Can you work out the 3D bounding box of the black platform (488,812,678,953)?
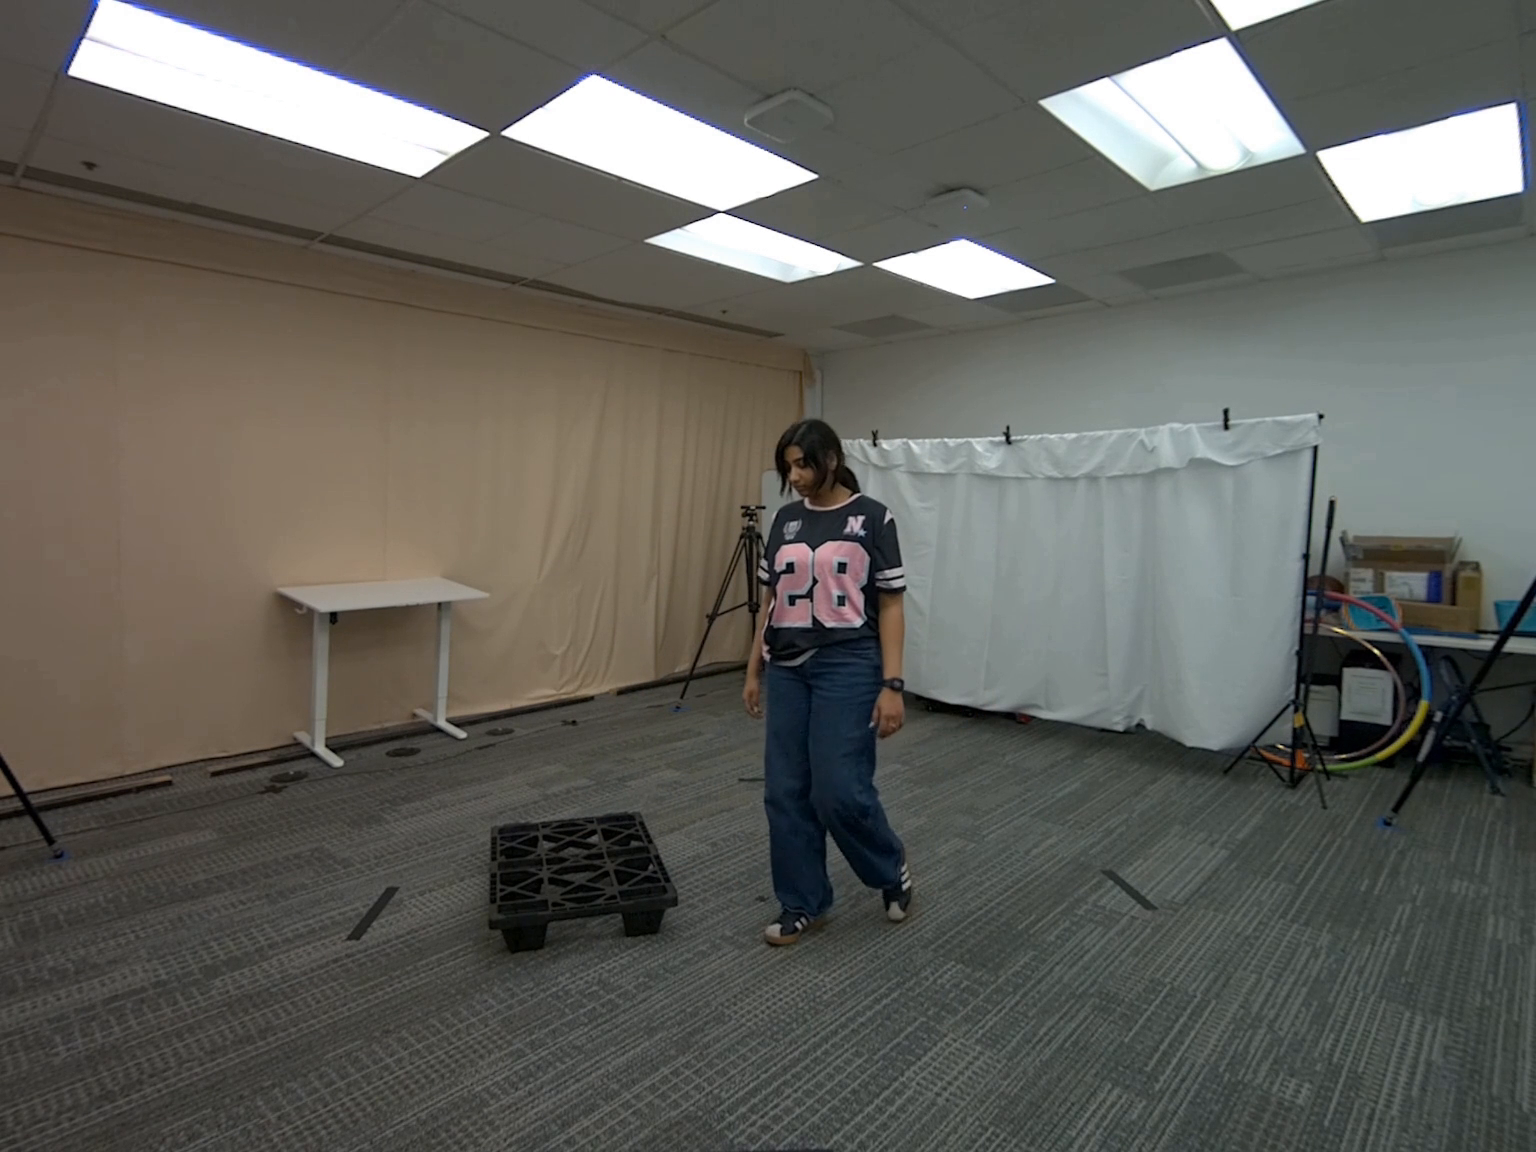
[{"bbox_3d":[-0.690,1.079,3.036,0.595,0.143,0.821,-1,5,-16],"label":"black platform"}]
